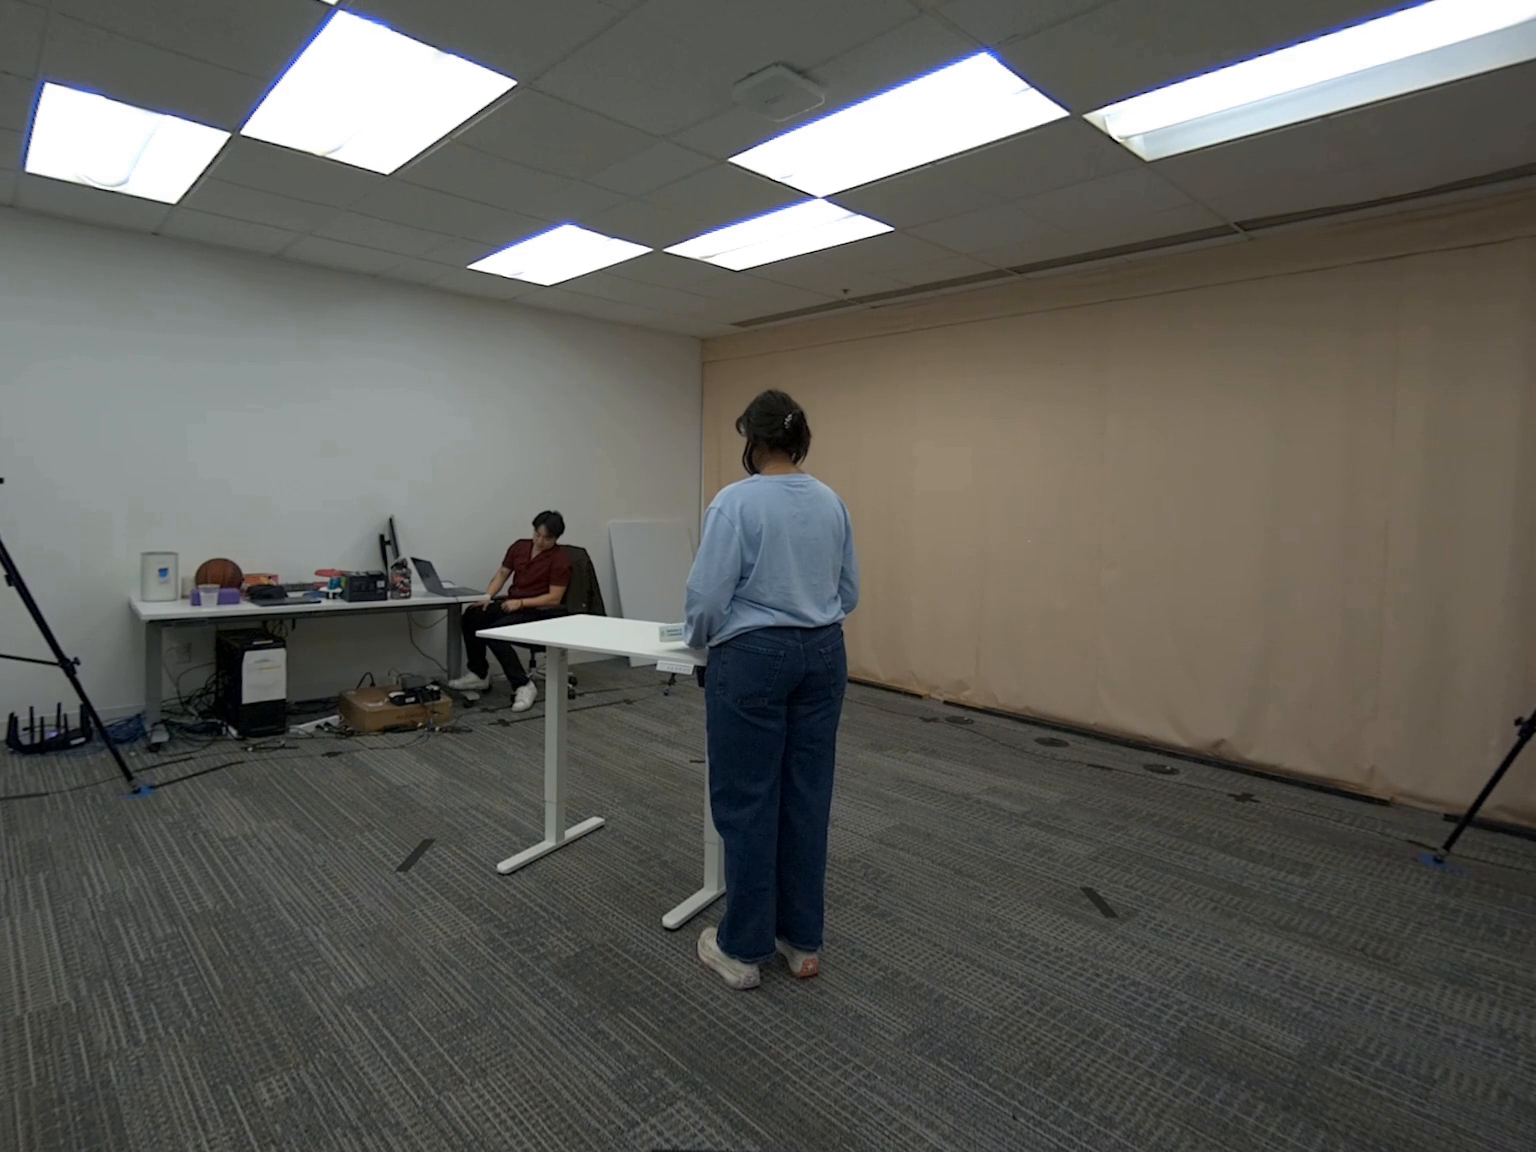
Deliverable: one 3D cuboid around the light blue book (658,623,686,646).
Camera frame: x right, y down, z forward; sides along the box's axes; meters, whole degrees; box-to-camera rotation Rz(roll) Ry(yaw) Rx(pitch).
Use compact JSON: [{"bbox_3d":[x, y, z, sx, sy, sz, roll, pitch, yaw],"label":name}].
[{"bbox_3d":[-0.203,0.176,2.741,0.266,0.059,0.187,-8,-4,45],"label":"light blue book"}]
